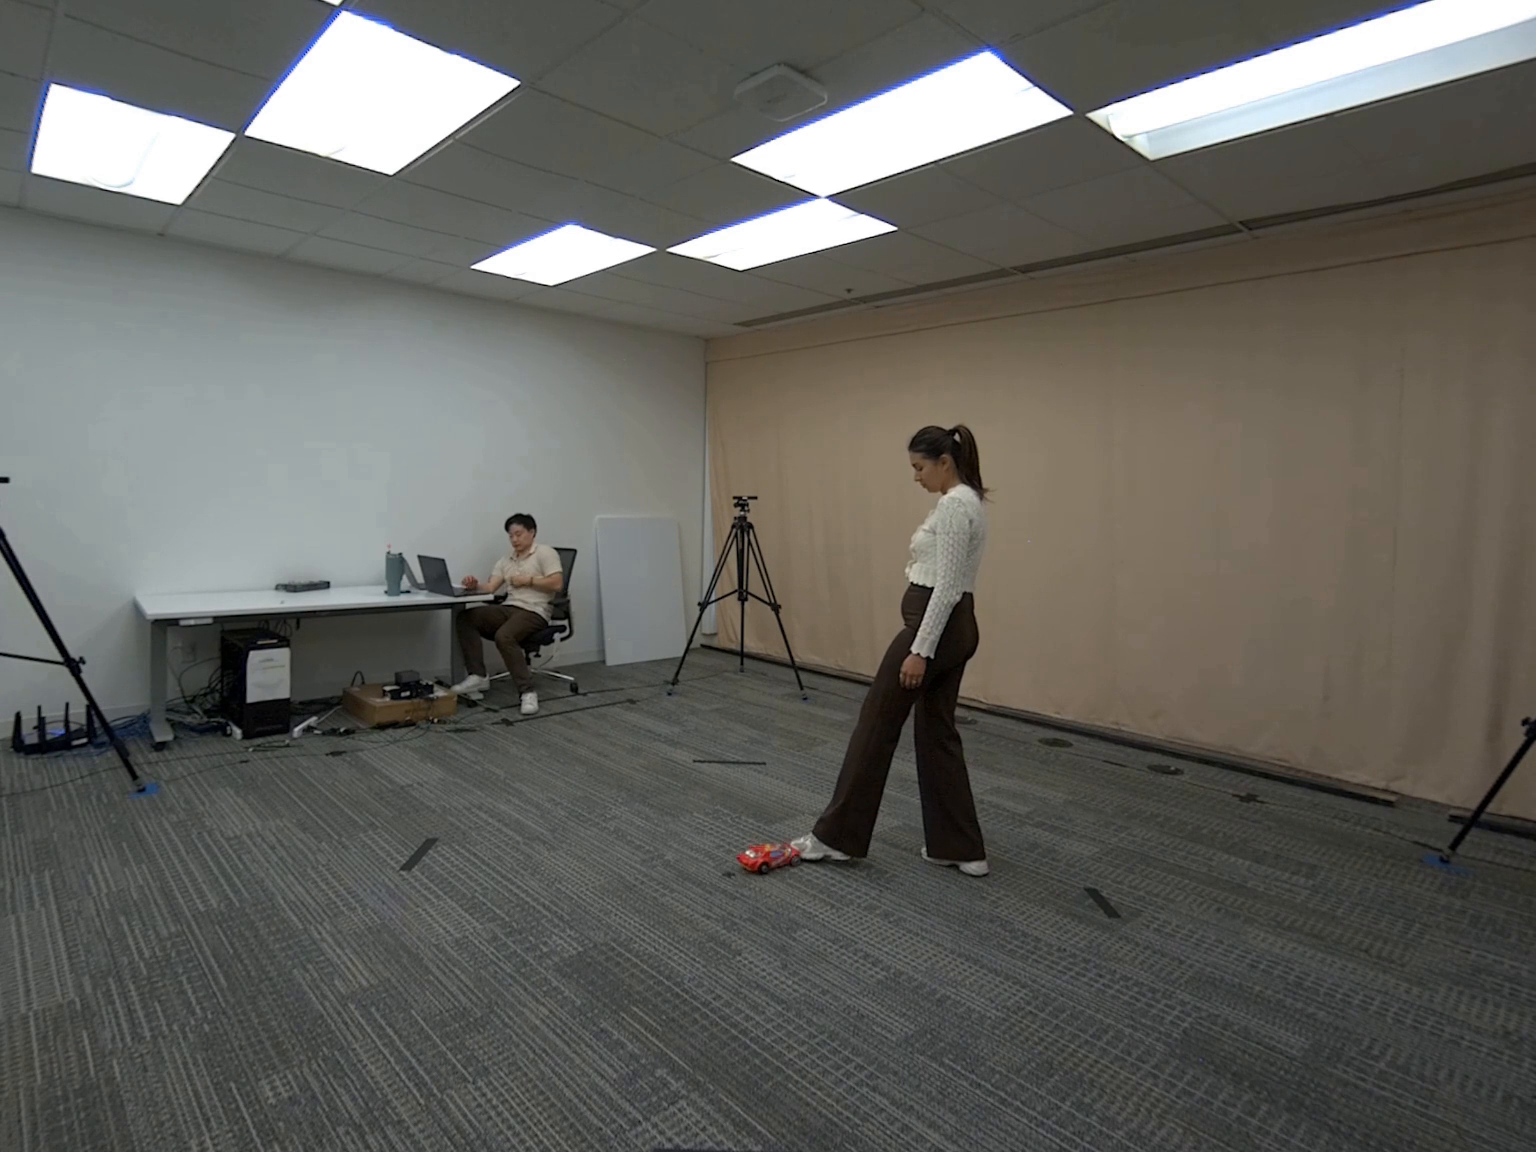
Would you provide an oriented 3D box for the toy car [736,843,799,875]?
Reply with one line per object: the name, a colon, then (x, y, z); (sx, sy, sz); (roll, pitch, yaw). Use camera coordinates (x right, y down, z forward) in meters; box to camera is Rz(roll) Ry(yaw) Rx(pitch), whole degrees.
toy car: (-0.011, 1.067, 3.182); (0.248, 0.083, 0.133); (12, -3, -34)
